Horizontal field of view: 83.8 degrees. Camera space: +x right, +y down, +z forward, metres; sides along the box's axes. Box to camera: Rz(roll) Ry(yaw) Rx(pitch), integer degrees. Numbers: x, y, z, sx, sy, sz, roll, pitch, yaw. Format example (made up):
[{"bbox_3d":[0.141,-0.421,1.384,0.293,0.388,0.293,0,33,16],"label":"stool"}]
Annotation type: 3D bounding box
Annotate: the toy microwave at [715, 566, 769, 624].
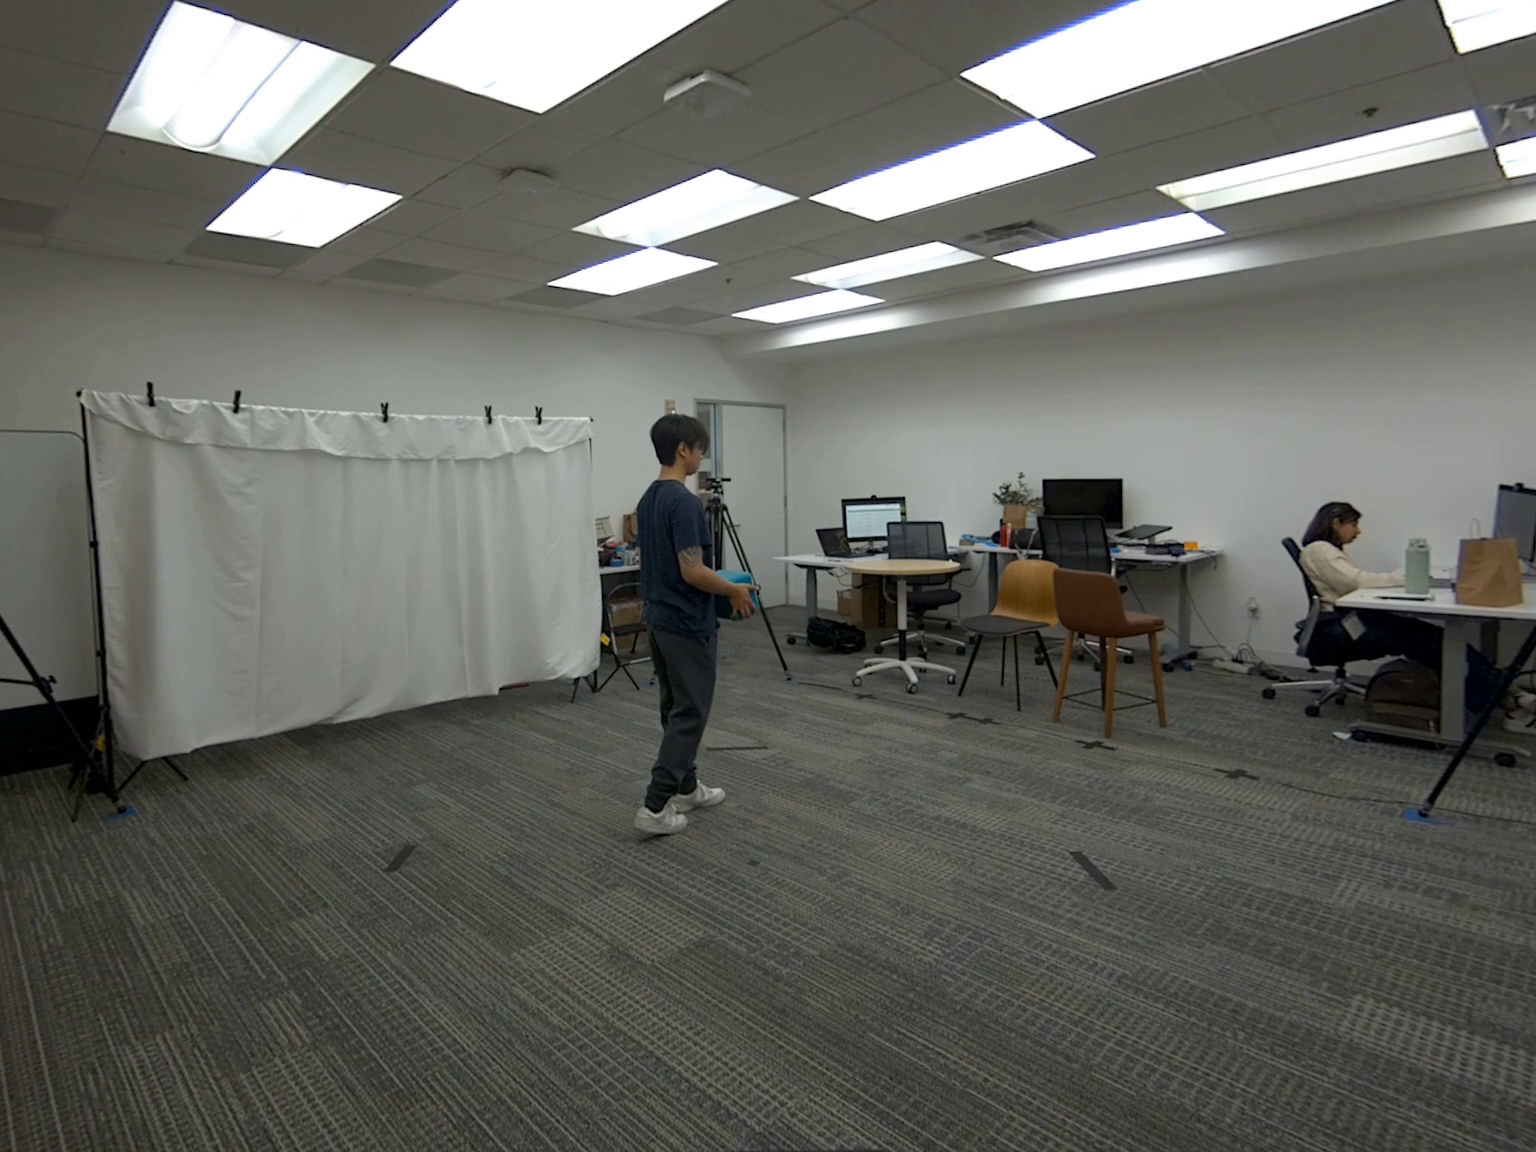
[{"bbox_3d":[-0.157,0.074,3.639,0.150,0.182,0.293,-19,11,-27],"label":"toy microwave"}]
